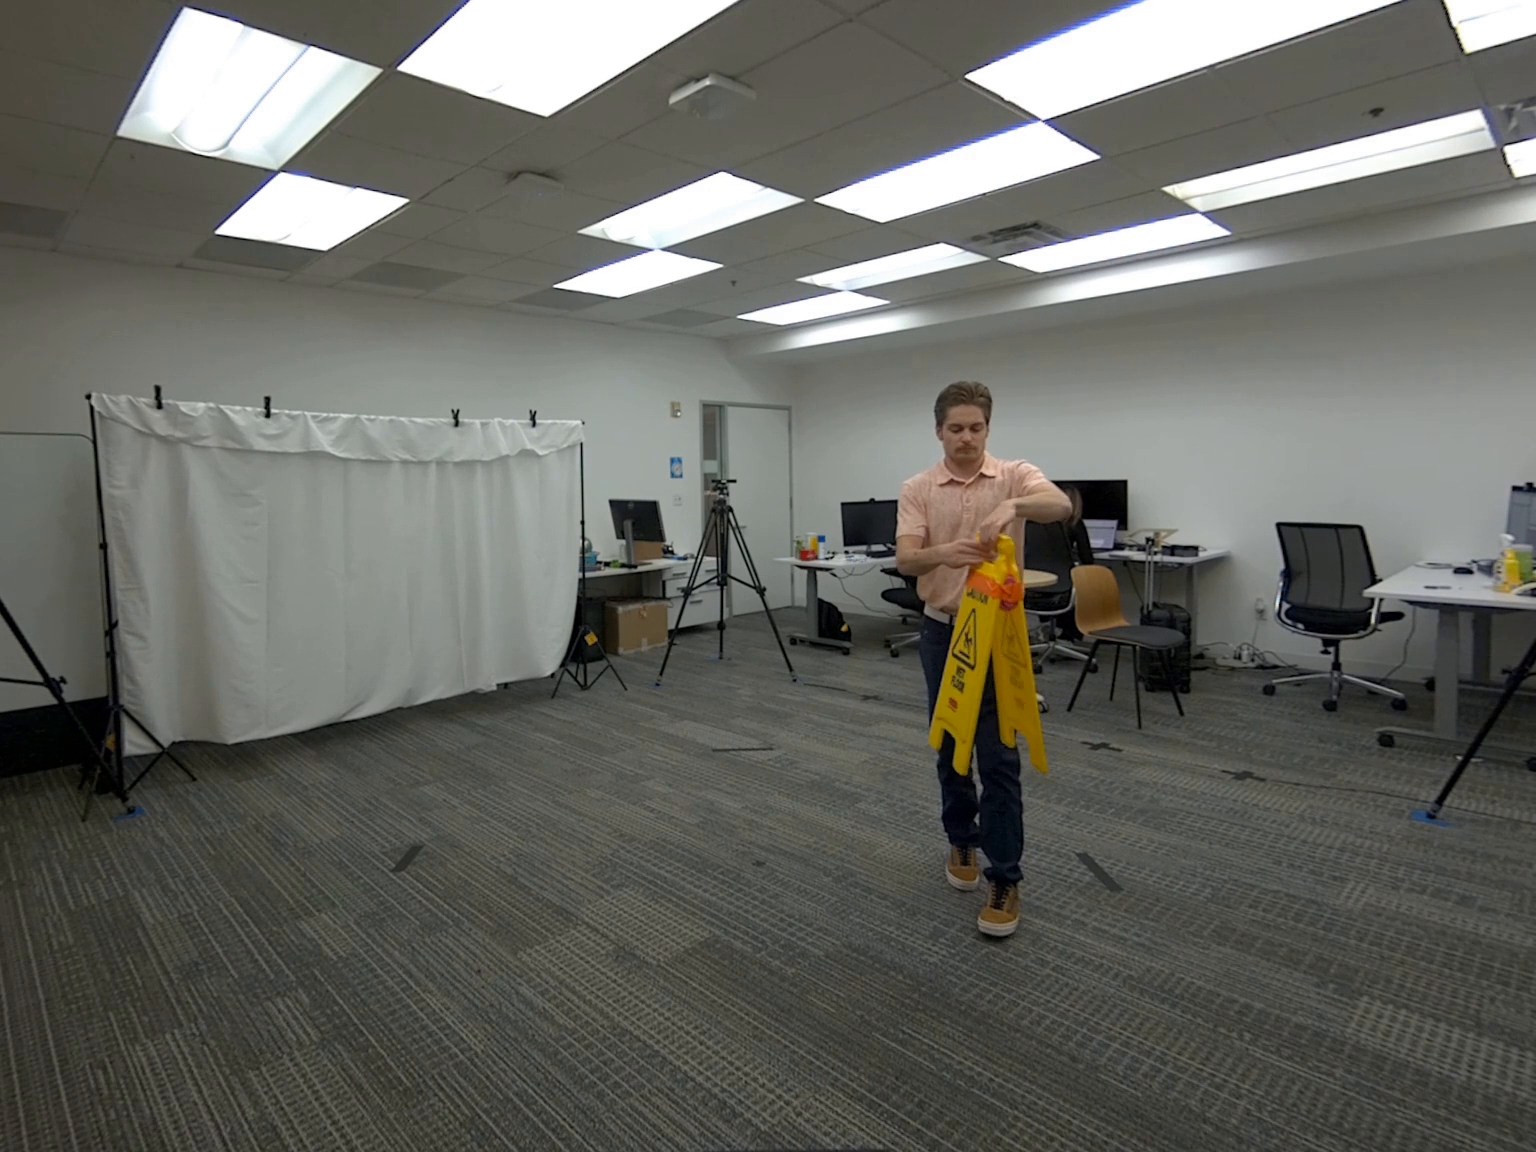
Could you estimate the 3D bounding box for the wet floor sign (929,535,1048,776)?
[{"bbox_3d":[0.643,0.207,2.423,0.288,0.643,0.285,-1,5,-8],"label":"wet floor sign"}]
